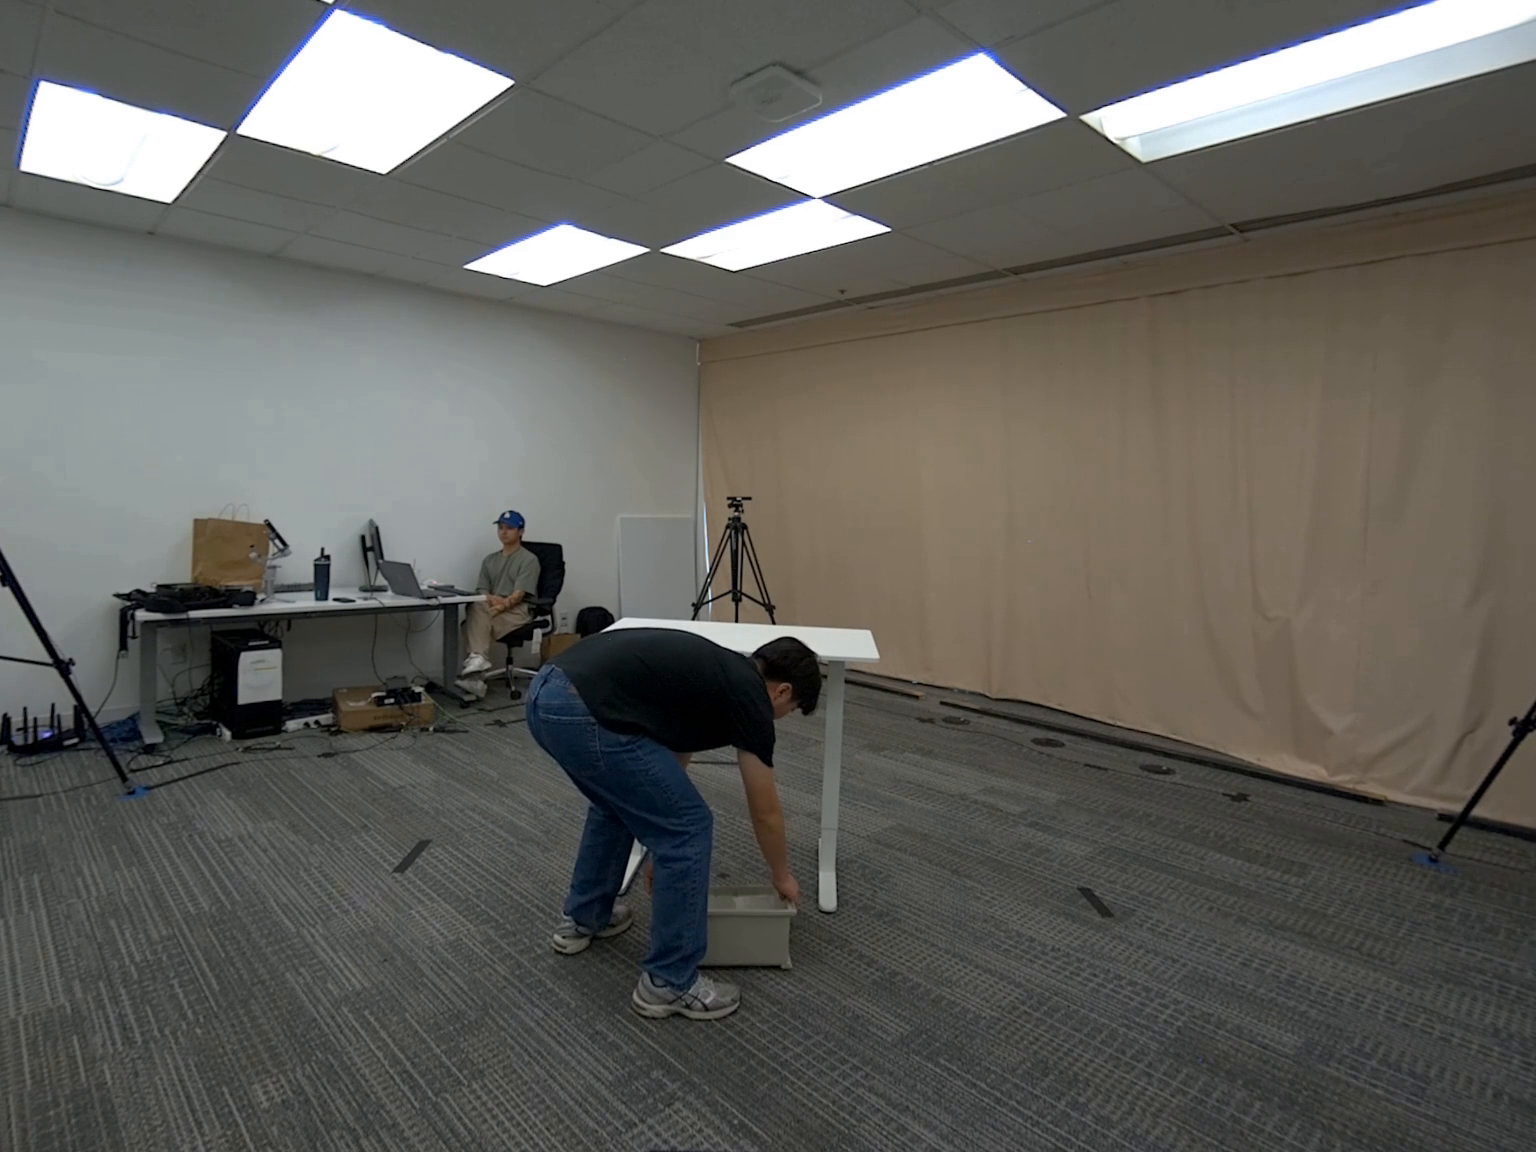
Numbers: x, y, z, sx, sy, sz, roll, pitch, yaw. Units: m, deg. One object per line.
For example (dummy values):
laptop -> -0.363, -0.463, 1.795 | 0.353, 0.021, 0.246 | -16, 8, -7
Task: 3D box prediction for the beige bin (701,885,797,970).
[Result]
beige bin -> -0.145, 1.049, 2.648 | 0.421, 0.188, 0.379 | 1, 3, -4
